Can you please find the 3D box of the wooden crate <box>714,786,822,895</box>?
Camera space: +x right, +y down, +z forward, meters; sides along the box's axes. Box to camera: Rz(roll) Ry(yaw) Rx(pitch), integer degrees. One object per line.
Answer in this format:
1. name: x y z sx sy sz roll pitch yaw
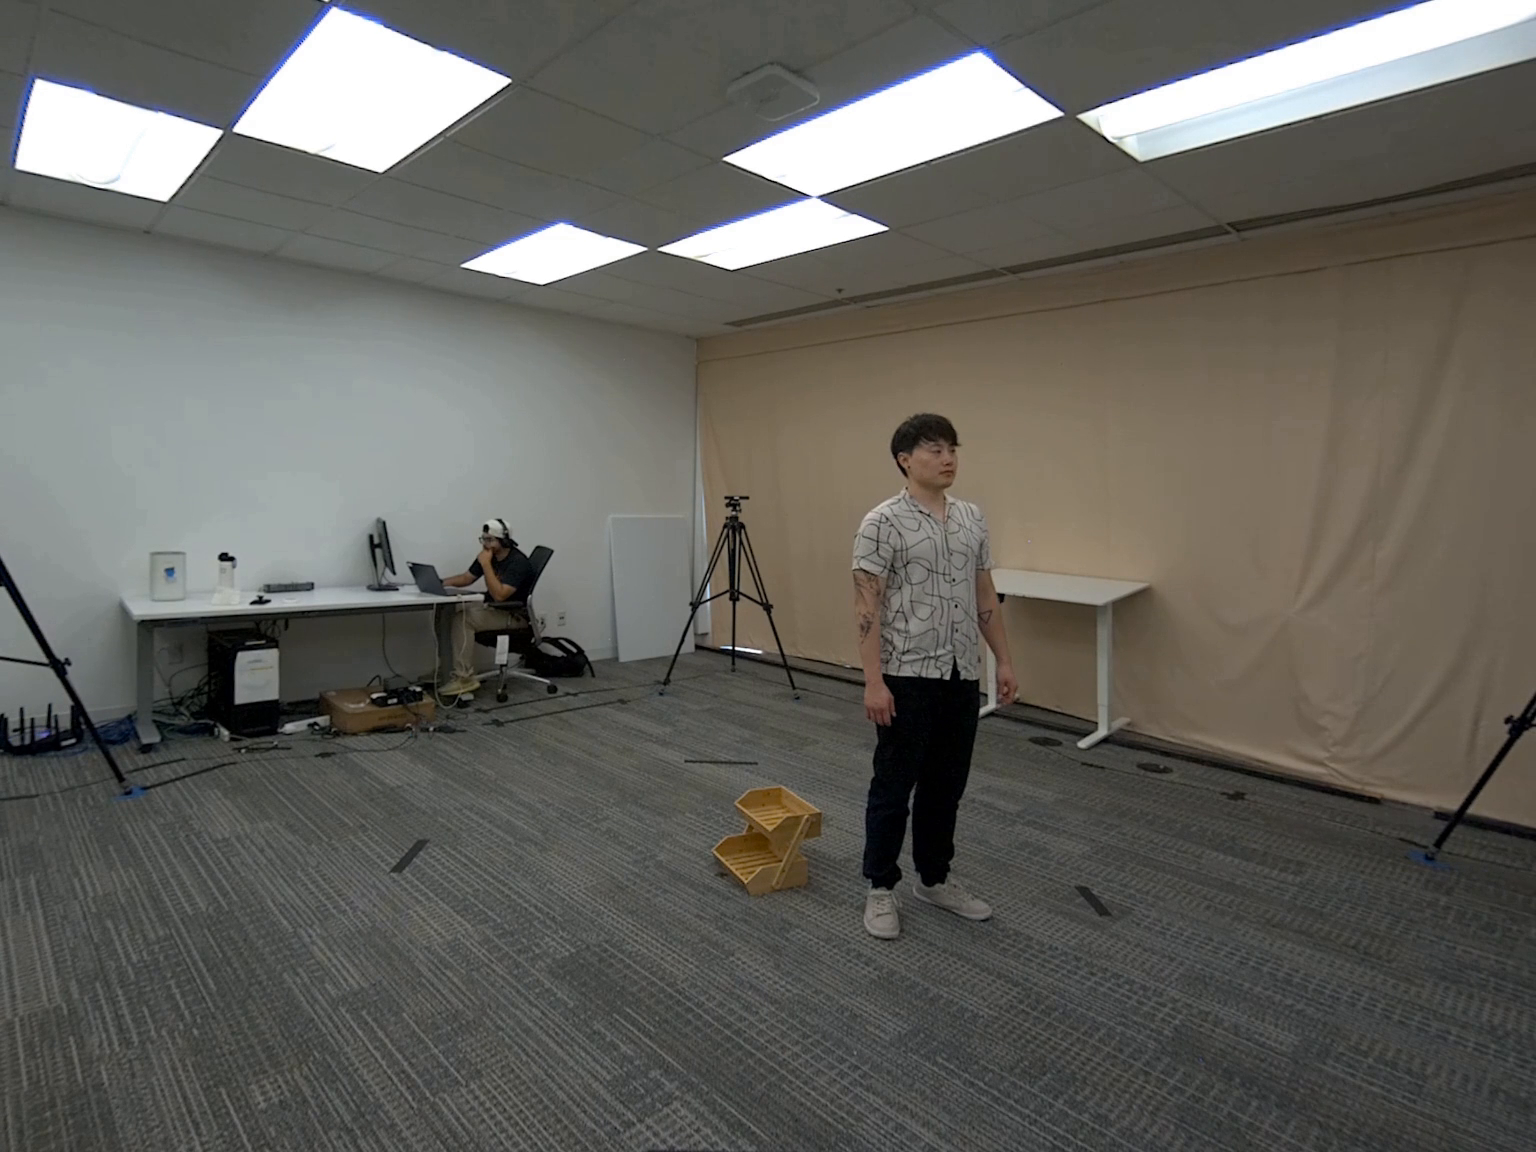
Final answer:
1. wooden crate: -0.022 0.969 3.133 0.296 0.272 0.331 0 4 -27
